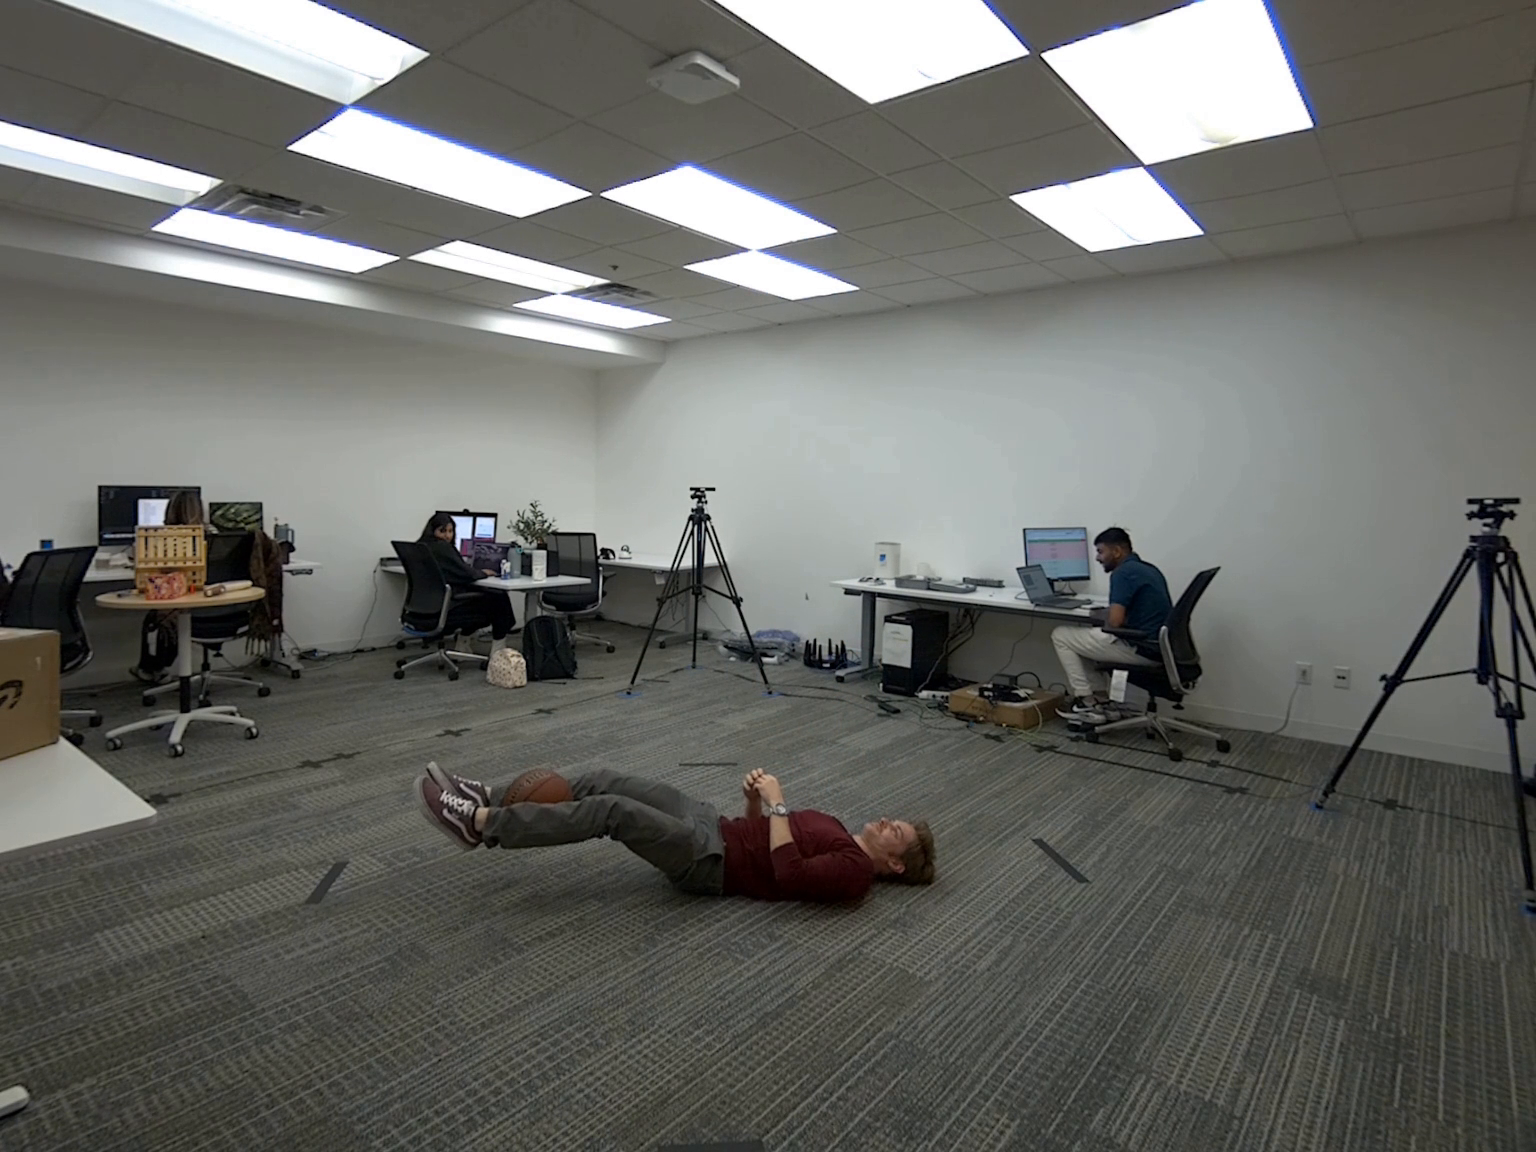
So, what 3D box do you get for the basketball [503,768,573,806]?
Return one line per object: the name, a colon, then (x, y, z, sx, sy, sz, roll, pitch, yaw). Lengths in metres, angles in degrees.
basketball: (-0.786, 0.781, 2.905, 0.235, 0.235, 0.237, 1, 4, -2)
